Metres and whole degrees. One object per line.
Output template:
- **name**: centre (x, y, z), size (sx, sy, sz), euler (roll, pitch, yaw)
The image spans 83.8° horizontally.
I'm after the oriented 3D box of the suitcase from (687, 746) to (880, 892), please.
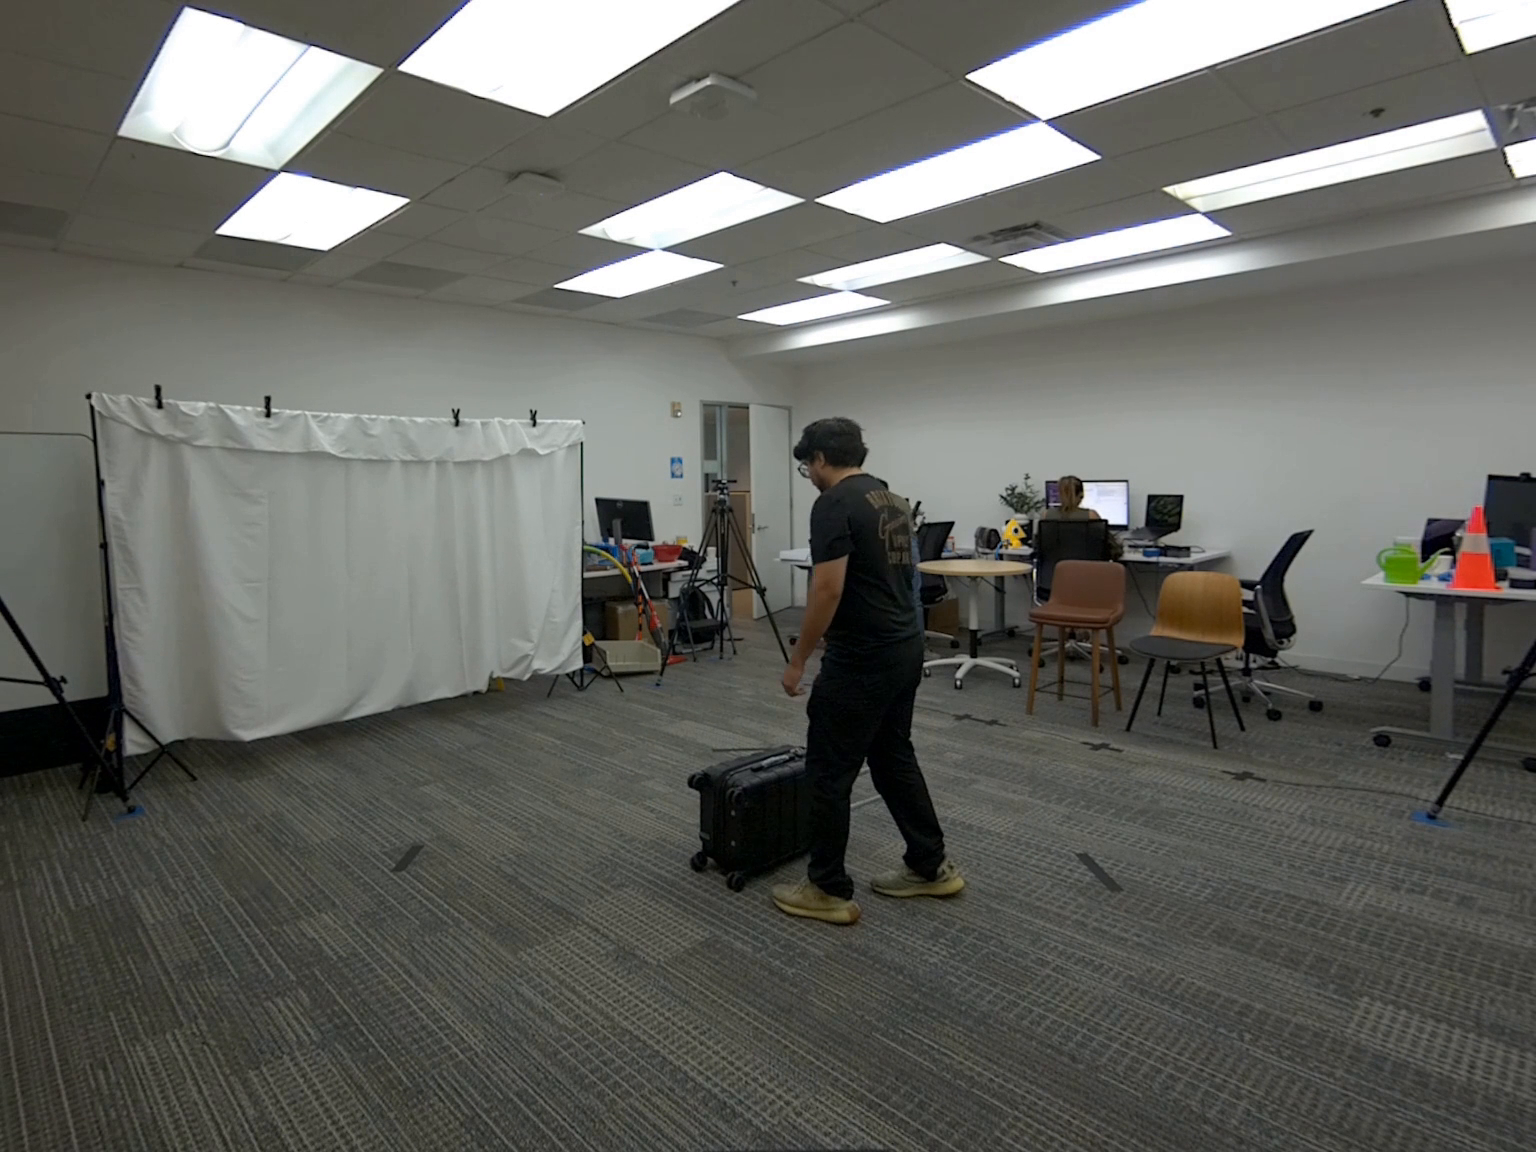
- **suitcase**: centre (0.133, 0.837, 3.298), size (0.952, 0.383, 0.265), euler (-6, 5, -44)
